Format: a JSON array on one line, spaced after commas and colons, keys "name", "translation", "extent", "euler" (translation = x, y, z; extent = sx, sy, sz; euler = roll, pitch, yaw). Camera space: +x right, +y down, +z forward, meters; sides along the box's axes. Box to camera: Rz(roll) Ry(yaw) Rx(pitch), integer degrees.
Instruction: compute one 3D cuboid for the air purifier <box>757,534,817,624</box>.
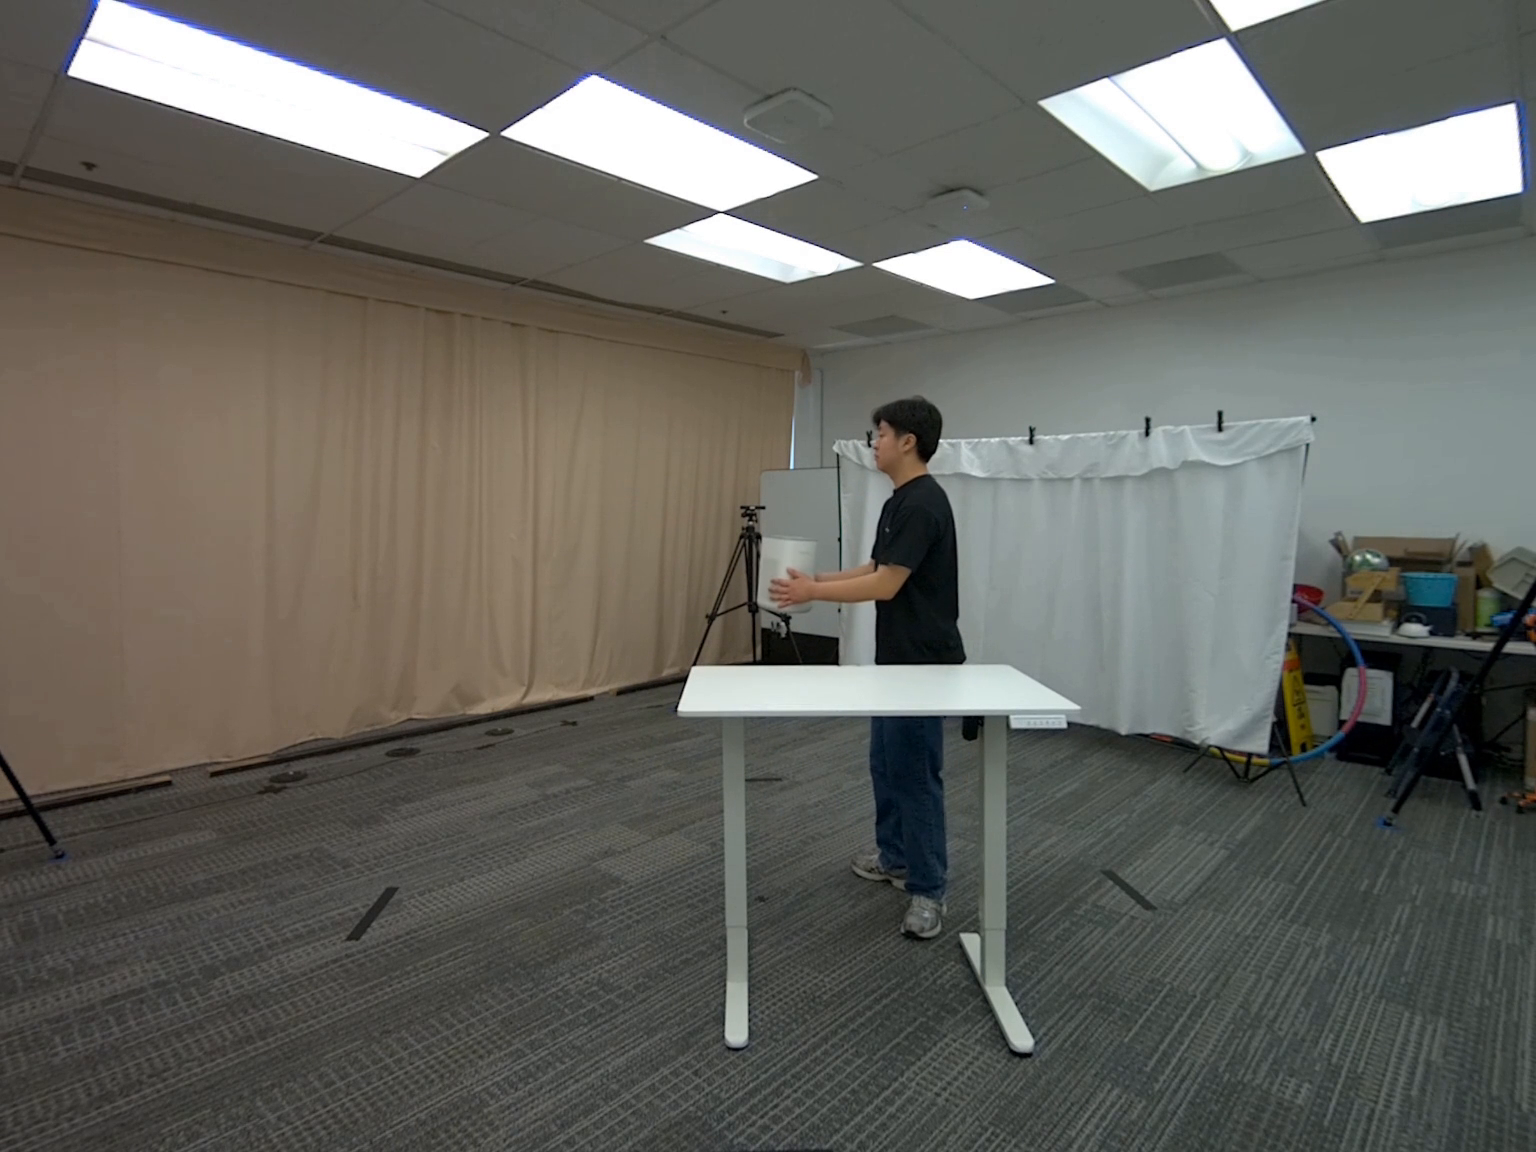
[{"name": "air purifier", "translation": [0.078, -0.004, 3.007], "extent": [0.177, 0.265, 0.165], "euler": [7, 3, 44]}]
